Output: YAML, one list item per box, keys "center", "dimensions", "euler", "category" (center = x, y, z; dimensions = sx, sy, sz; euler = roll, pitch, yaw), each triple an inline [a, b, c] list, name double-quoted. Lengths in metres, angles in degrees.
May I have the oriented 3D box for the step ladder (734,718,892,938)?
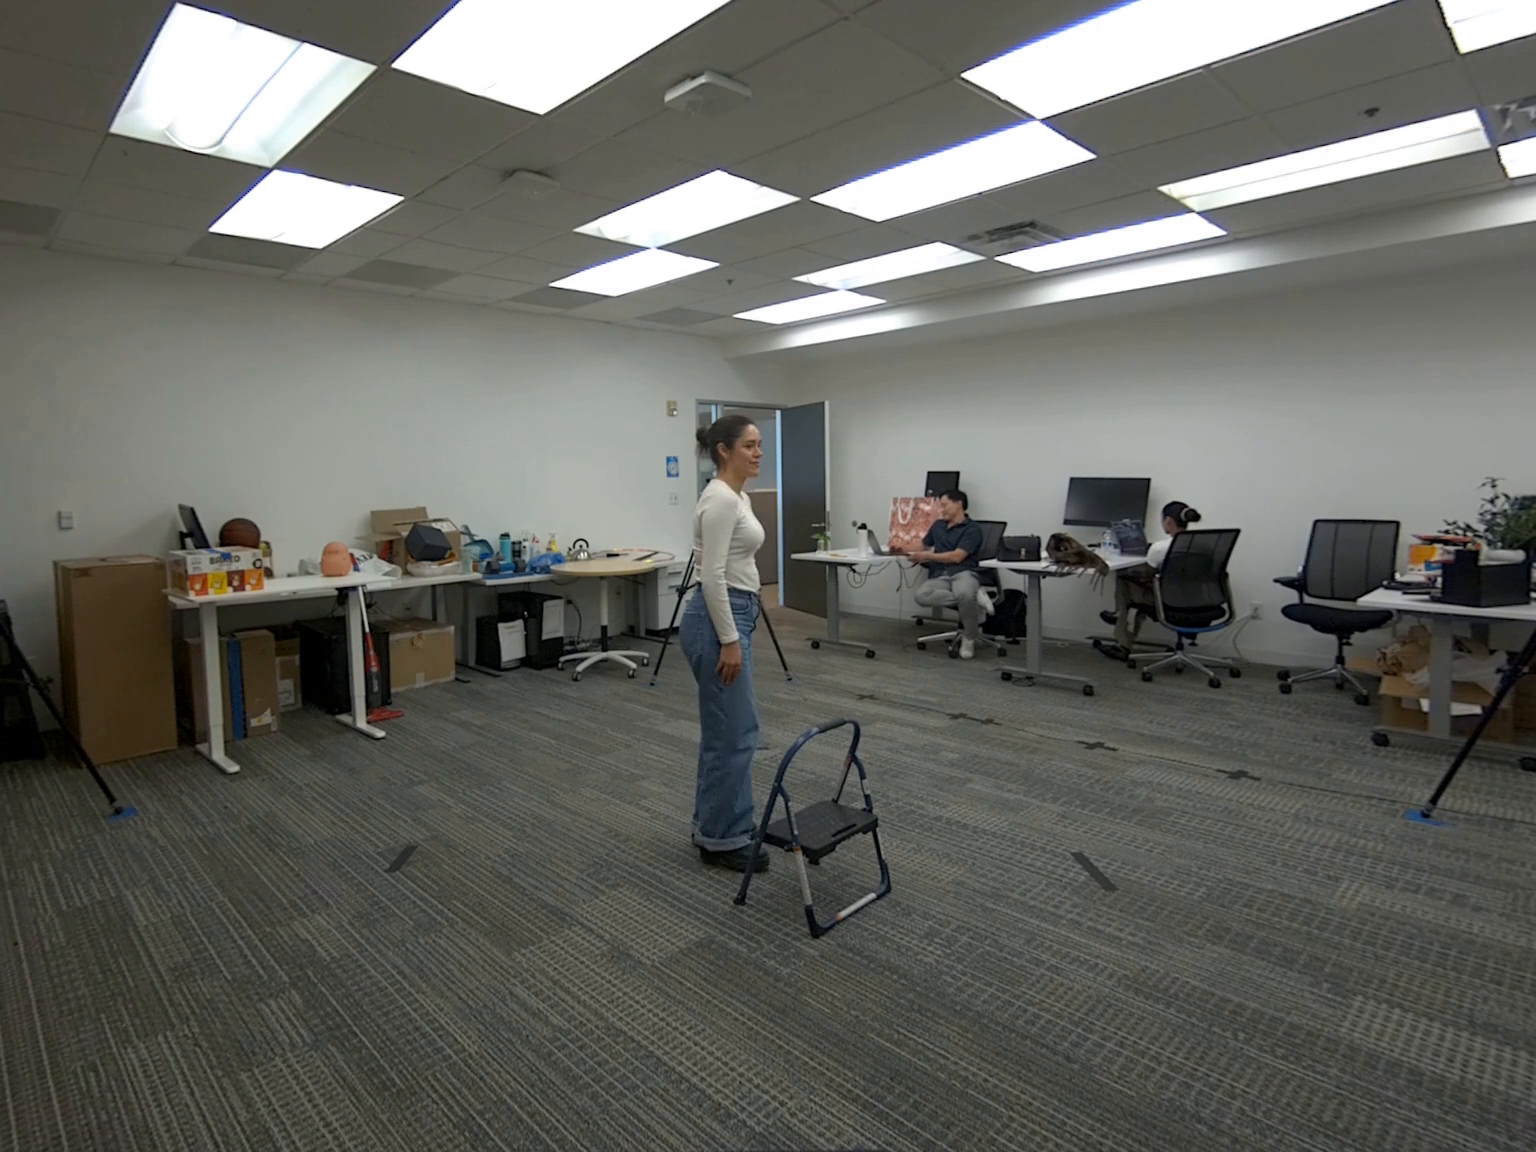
- center: [0.151, 0.766, 2.832]
  dimensions: [0.360, 0.604, 0.419]
  euler: [3, 6, 42]
  category: "step ladder"
